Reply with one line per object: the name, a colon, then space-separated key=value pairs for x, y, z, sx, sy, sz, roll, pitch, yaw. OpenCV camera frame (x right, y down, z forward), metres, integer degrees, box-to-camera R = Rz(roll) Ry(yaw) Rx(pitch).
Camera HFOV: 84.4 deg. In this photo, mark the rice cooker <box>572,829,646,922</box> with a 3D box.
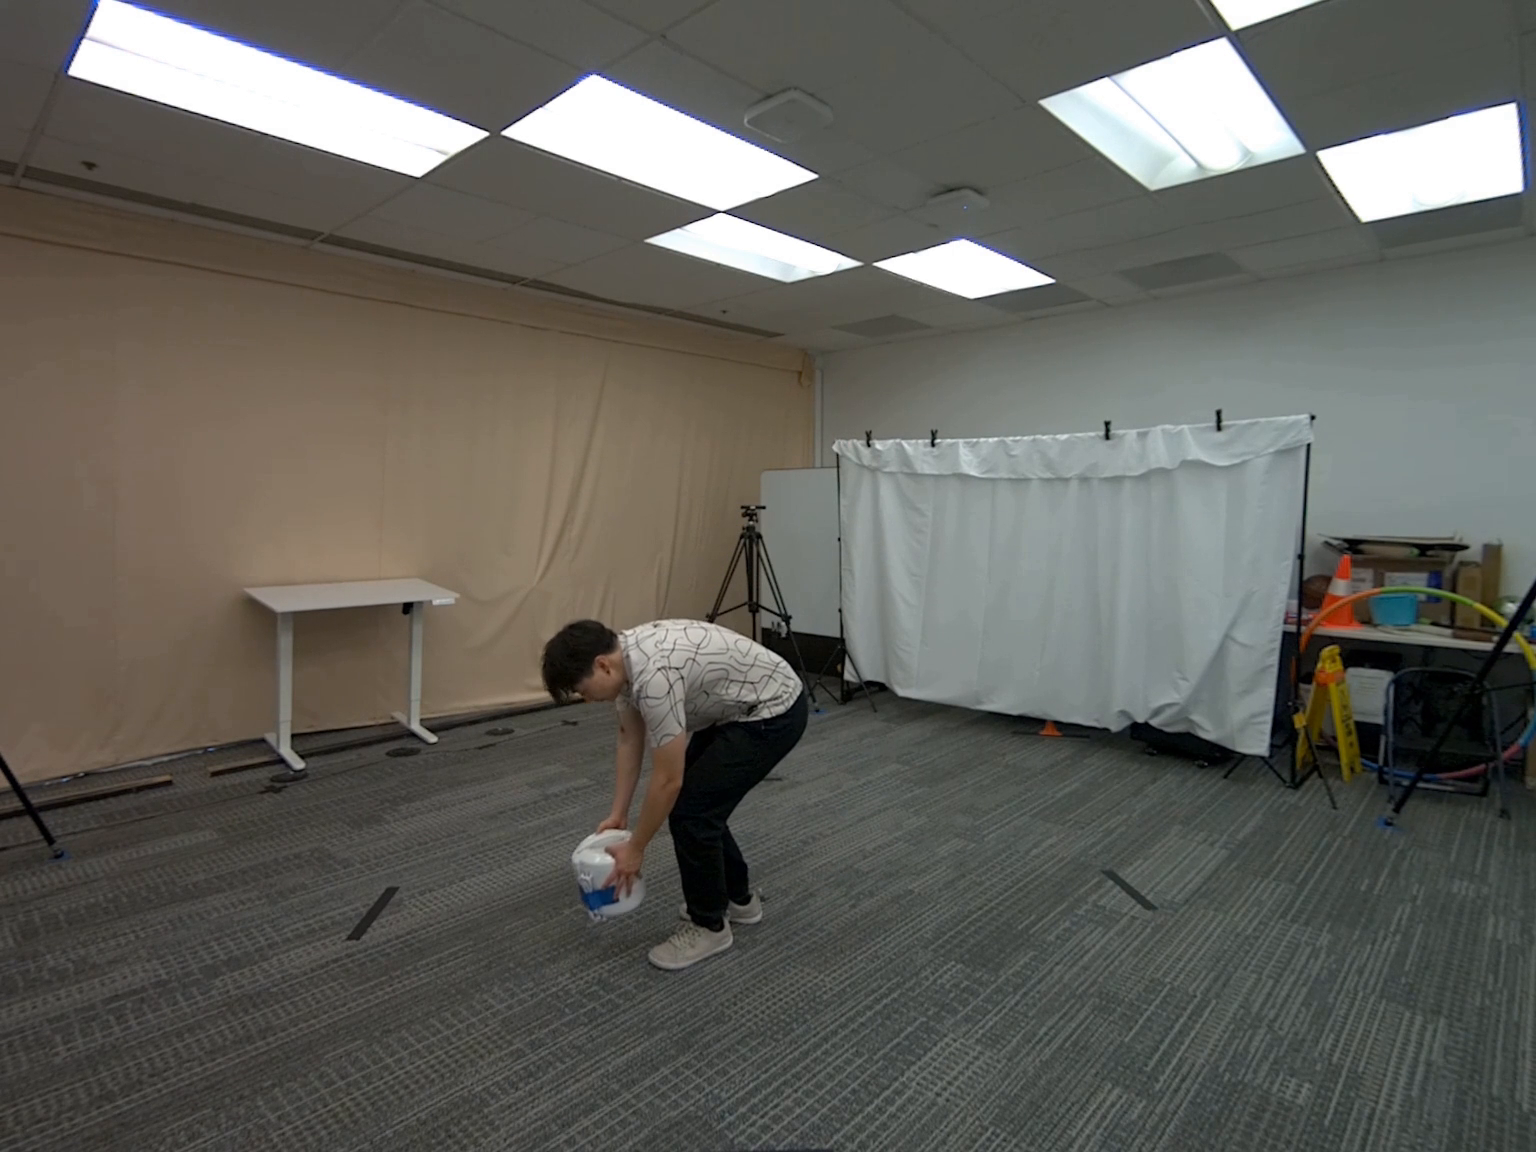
rice cooker: x=-0.489 y=0.907 z=2.625 sx=0.216 sy=0.231 sz=0.223 roll=-8 pitch=9 yaw=-20
